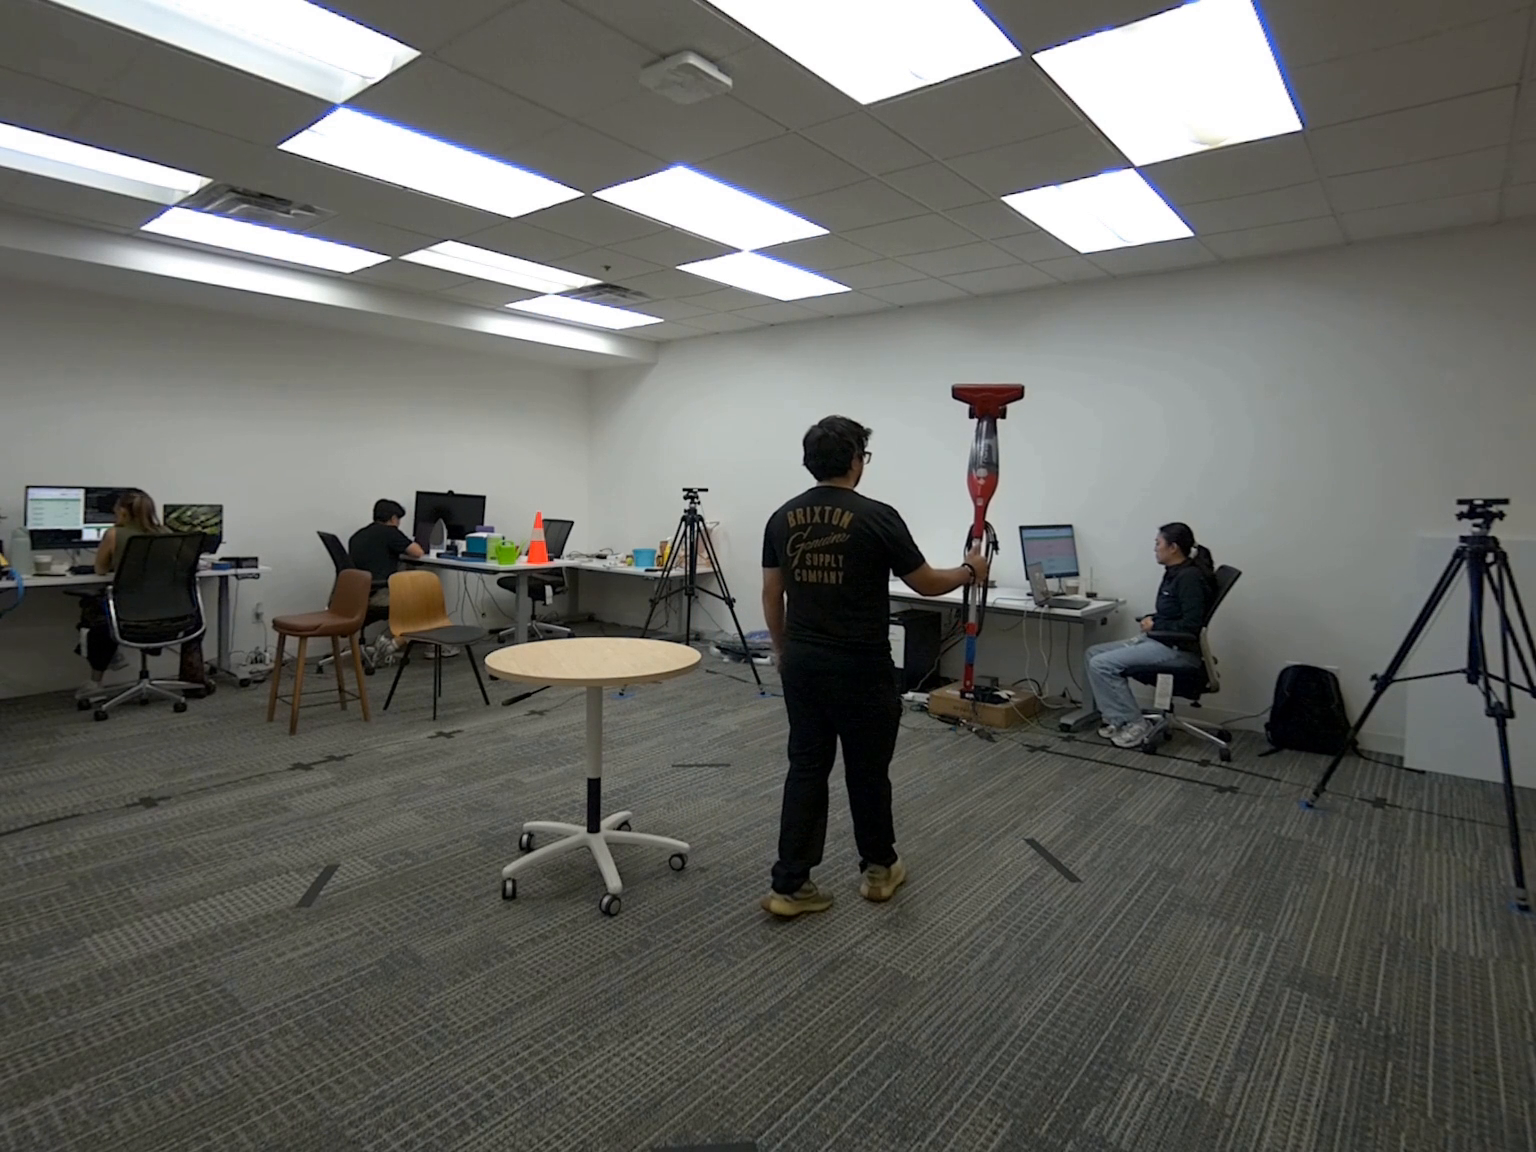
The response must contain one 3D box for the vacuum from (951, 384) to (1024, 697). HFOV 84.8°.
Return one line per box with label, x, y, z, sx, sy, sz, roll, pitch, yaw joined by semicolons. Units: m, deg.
vacuum;0.766;-0.138;3.069;0.257;1.054;0.141;3;-5;17
